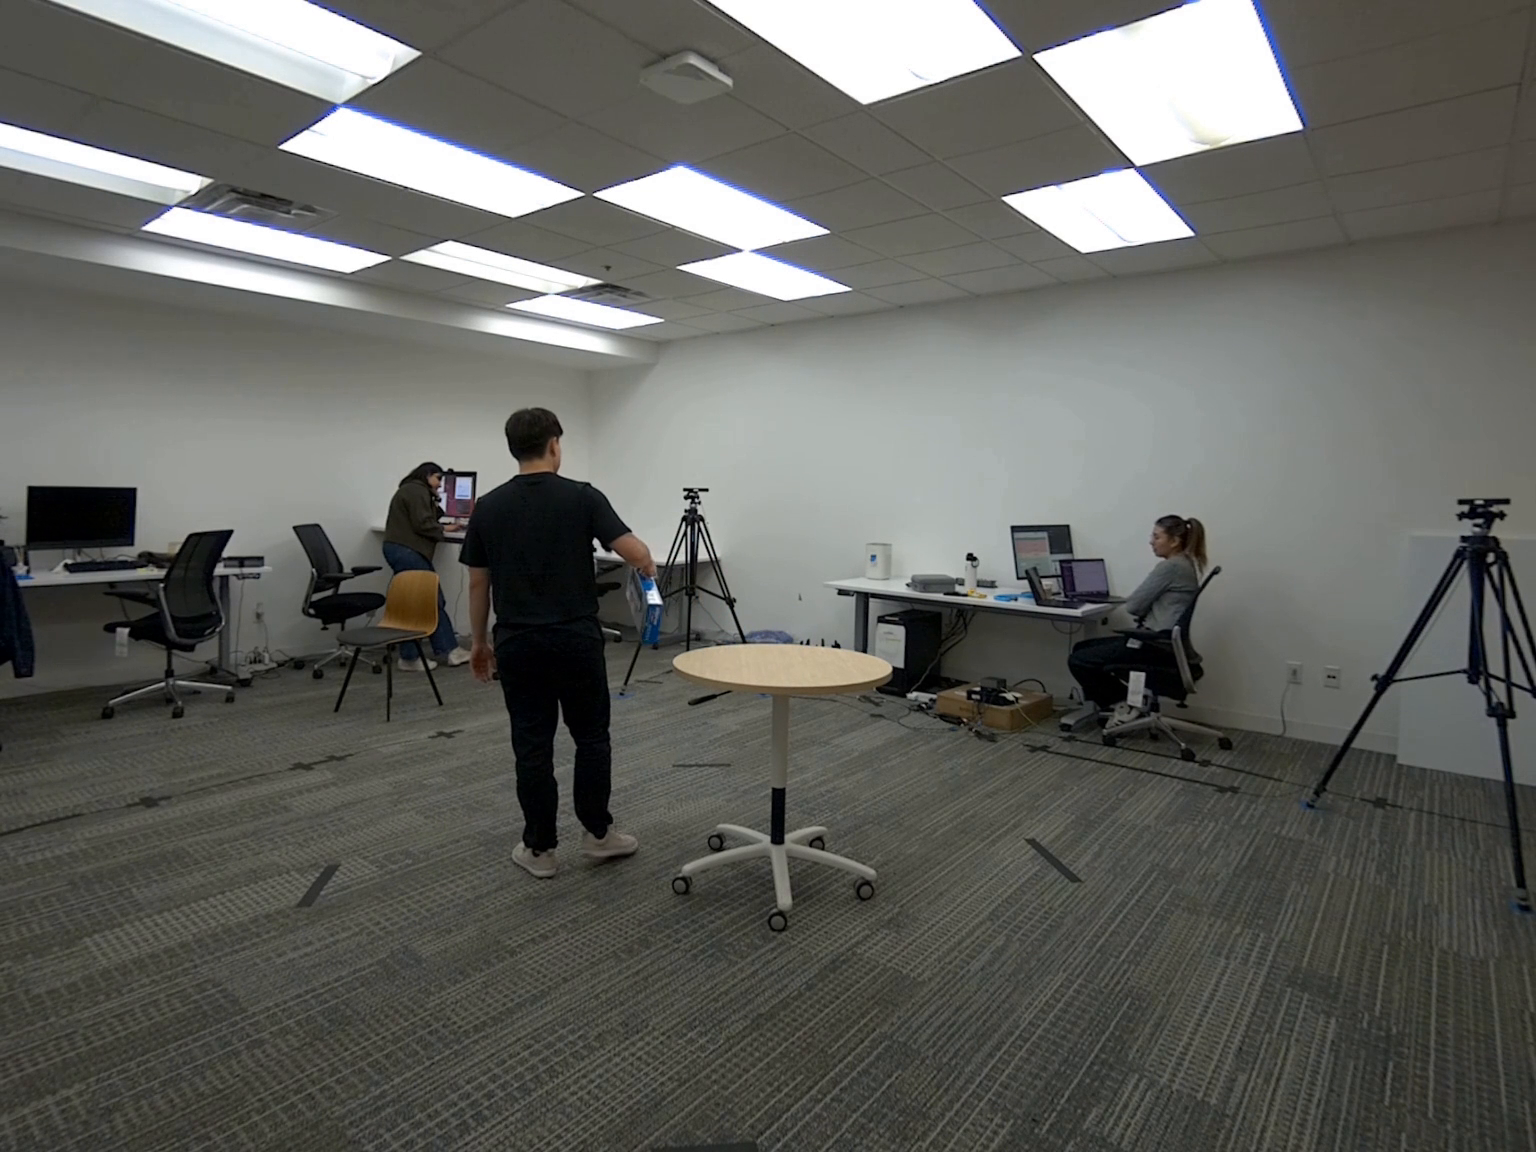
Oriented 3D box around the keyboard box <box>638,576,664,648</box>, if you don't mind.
[{"bbox_3d":[-0.496,0.078,3.347,0.058,0.173,0.453,1,27,-20],"label":"keyboard box"}]
